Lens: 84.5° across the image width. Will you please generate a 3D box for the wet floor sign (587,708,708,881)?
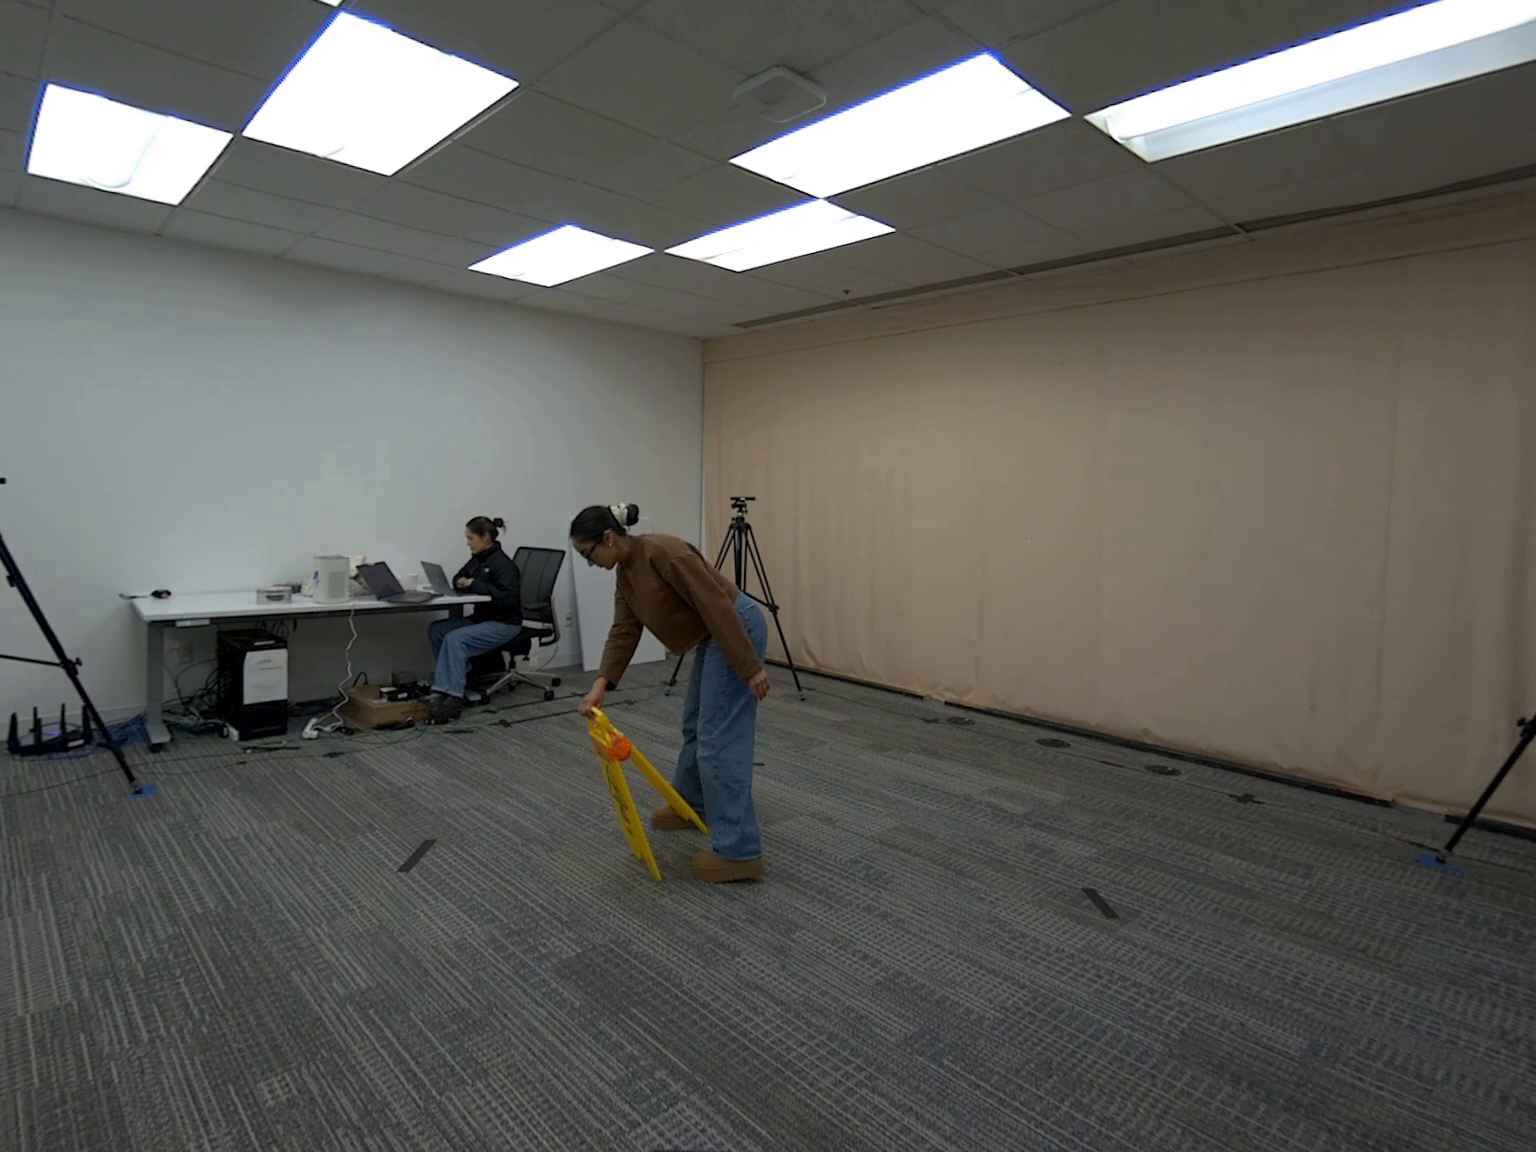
[{"bbox_3d":[-0.508,0.758,3.117,0.288,0.636,0.289,-32,18,-24],"label":"wet floor sign"}]
